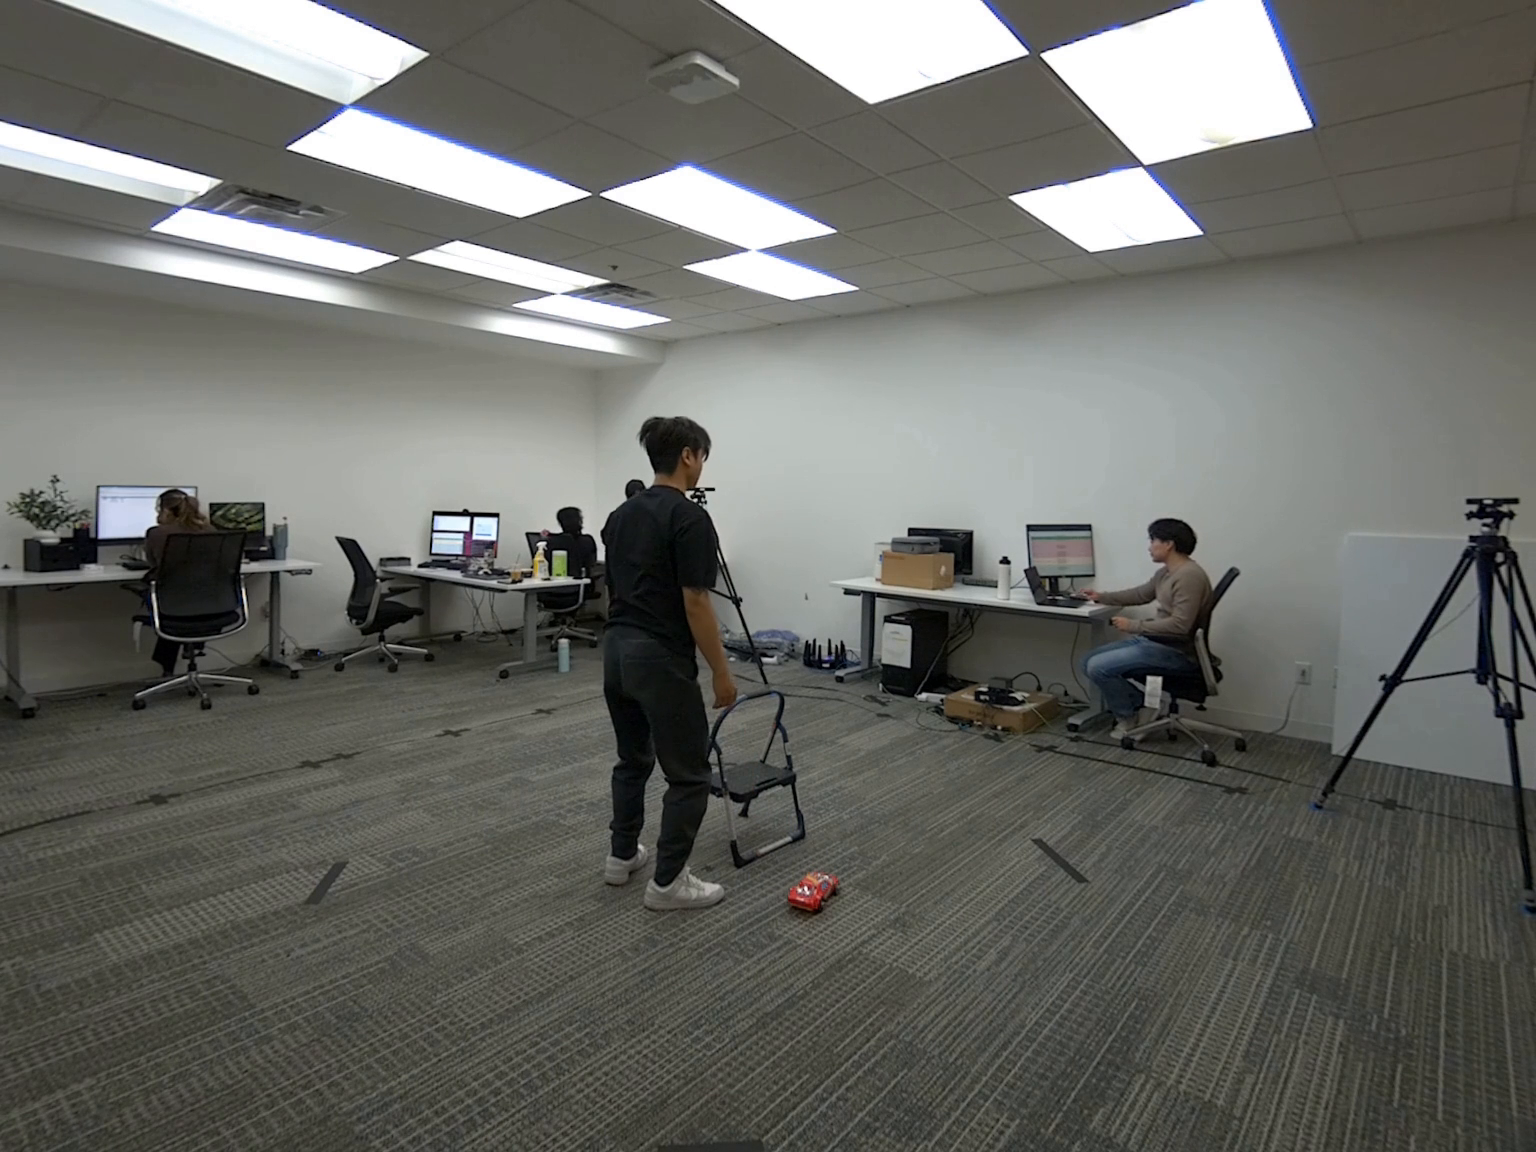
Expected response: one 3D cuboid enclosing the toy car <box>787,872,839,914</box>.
[{"bbox_3d":[0.148,1.070,2.878,0.134,0.083,0.246,5,-5,25],"label":"toy car"}]
